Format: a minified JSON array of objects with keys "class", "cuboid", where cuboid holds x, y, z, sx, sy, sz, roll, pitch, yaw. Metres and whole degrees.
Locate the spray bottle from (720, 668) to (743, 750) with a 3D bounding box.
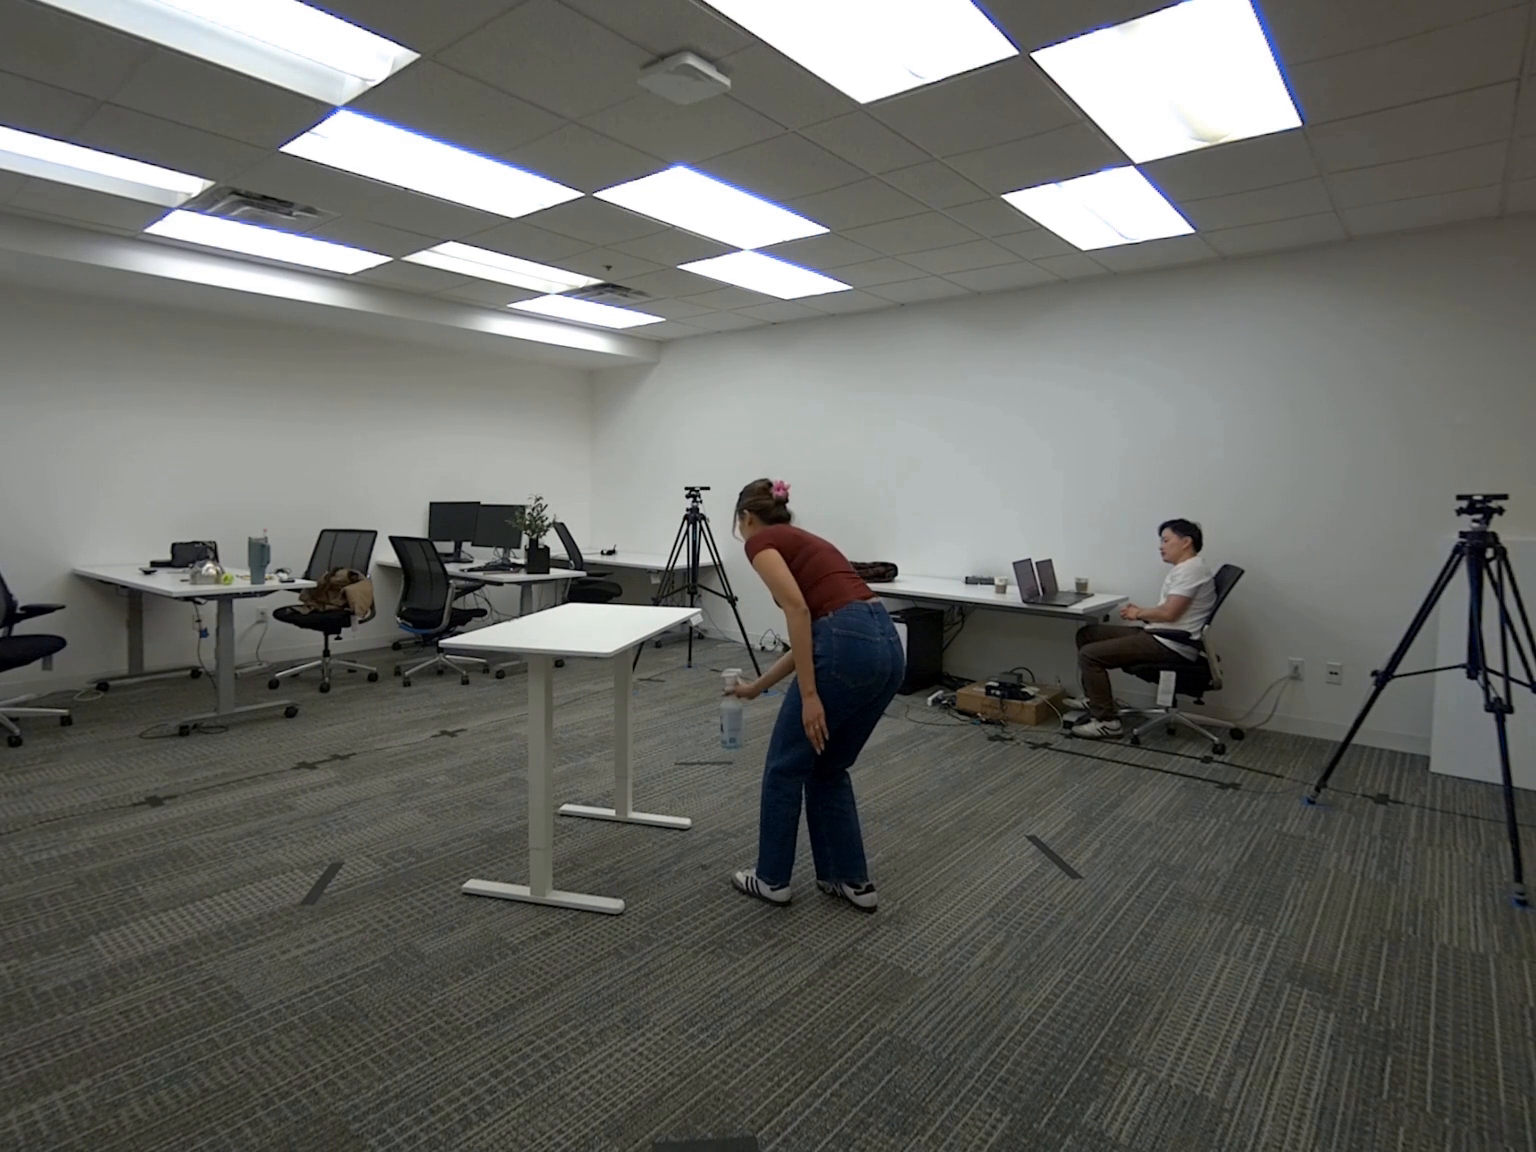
[{"class":"spray bottle","cuboid":[-0.149,0.502,3.236,0.084,0.297,0.093,-2,2,-33]}]
